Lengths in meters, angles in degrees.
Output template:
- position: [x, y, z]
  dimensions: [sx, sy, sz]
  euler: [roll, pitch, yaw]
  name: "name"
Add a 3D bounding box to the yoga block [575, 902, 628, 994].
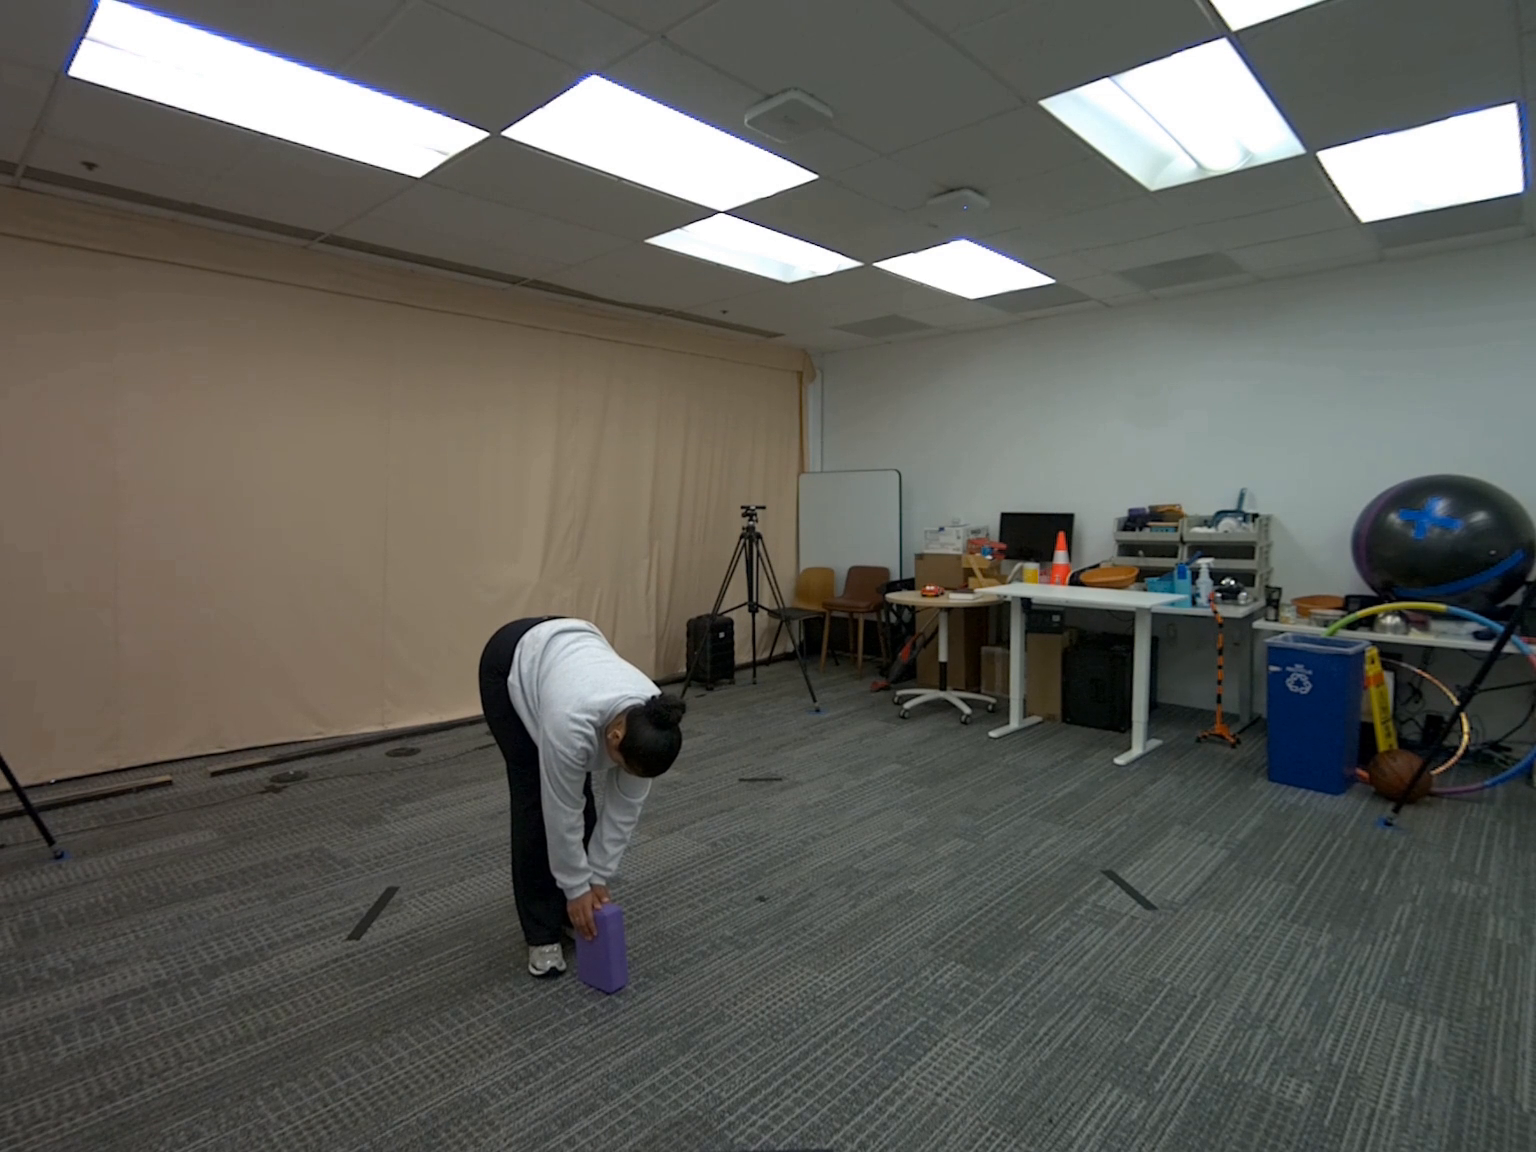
- position: [-0.486, 1.073, 2.455]
  dimensions: [0.153, 0.229, 0.074]
  euler: [-4, 0, 39]
  name: "yoga block"
